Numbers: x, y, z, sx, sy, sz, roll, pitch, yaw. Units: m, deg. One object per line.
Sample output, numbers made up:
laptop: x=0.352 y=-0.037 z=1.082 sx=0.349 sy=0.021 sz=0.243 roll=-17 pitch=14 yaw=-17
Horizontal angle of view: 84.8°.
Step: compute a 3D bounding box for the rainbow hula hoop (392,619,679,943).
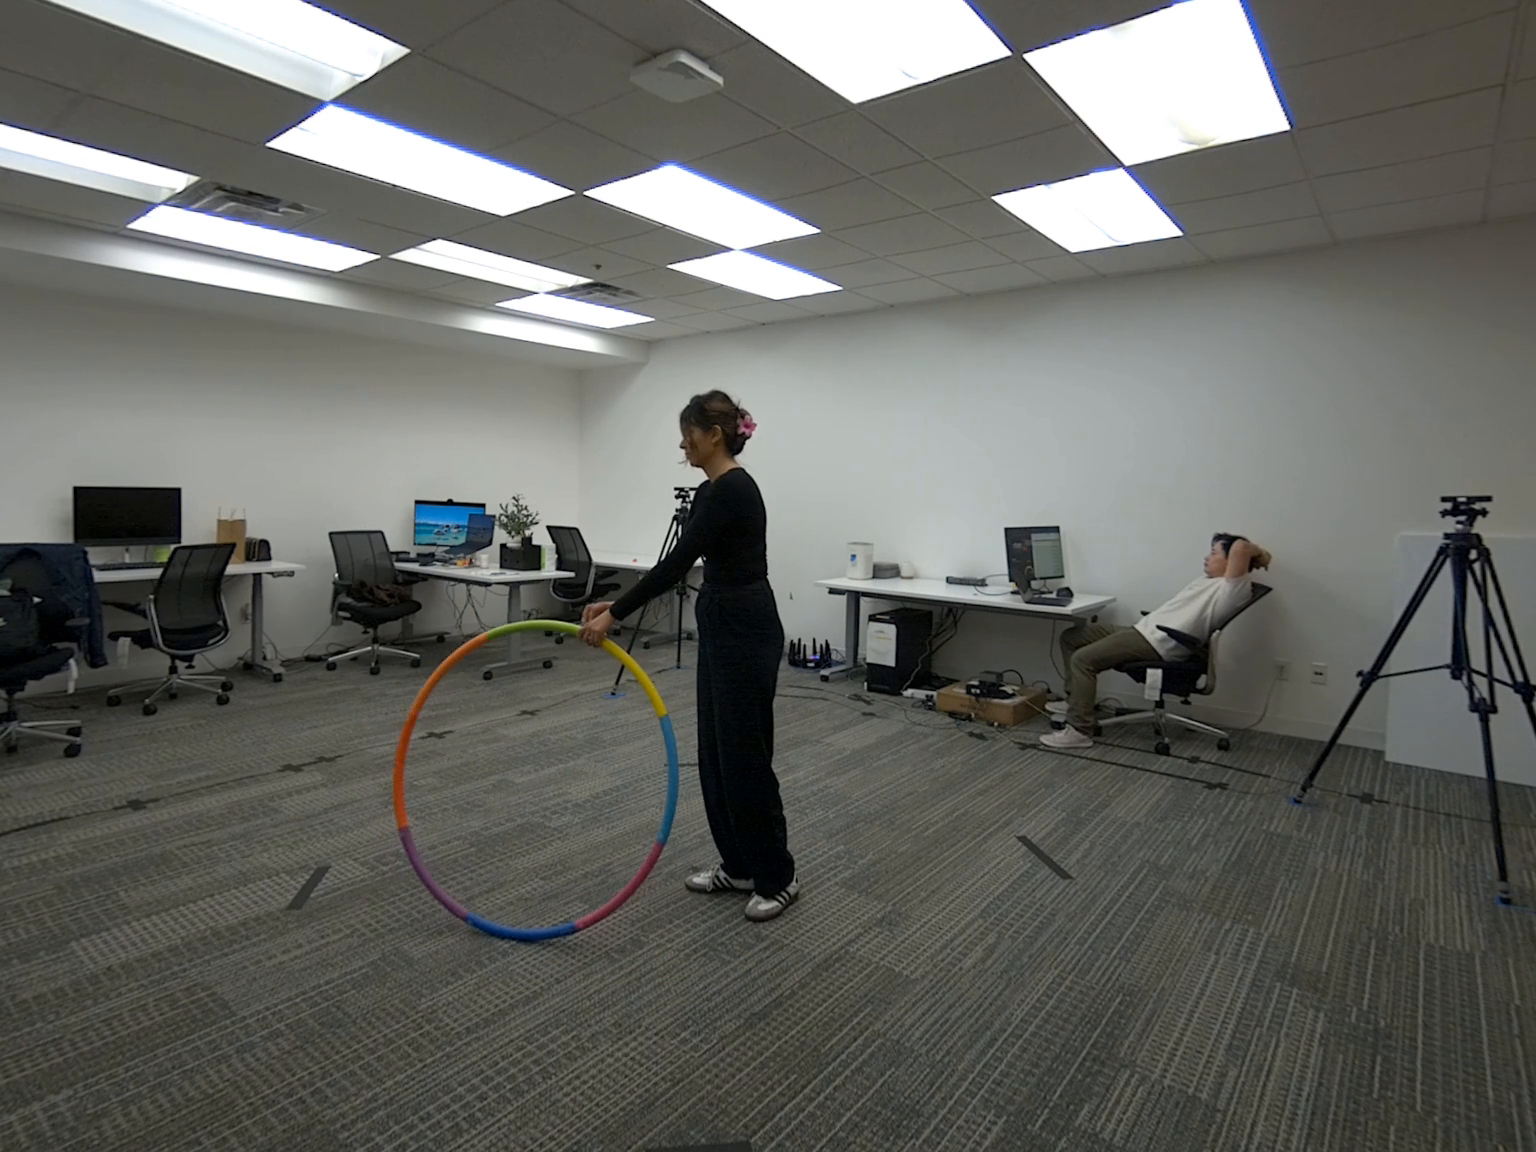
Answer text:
rainbow hula hoop: x=-0.758 y=0.629 z=2.703 sx=0.994 sy=0.990 sz=0.034 roll=1 pitch=-14 yaw=15
